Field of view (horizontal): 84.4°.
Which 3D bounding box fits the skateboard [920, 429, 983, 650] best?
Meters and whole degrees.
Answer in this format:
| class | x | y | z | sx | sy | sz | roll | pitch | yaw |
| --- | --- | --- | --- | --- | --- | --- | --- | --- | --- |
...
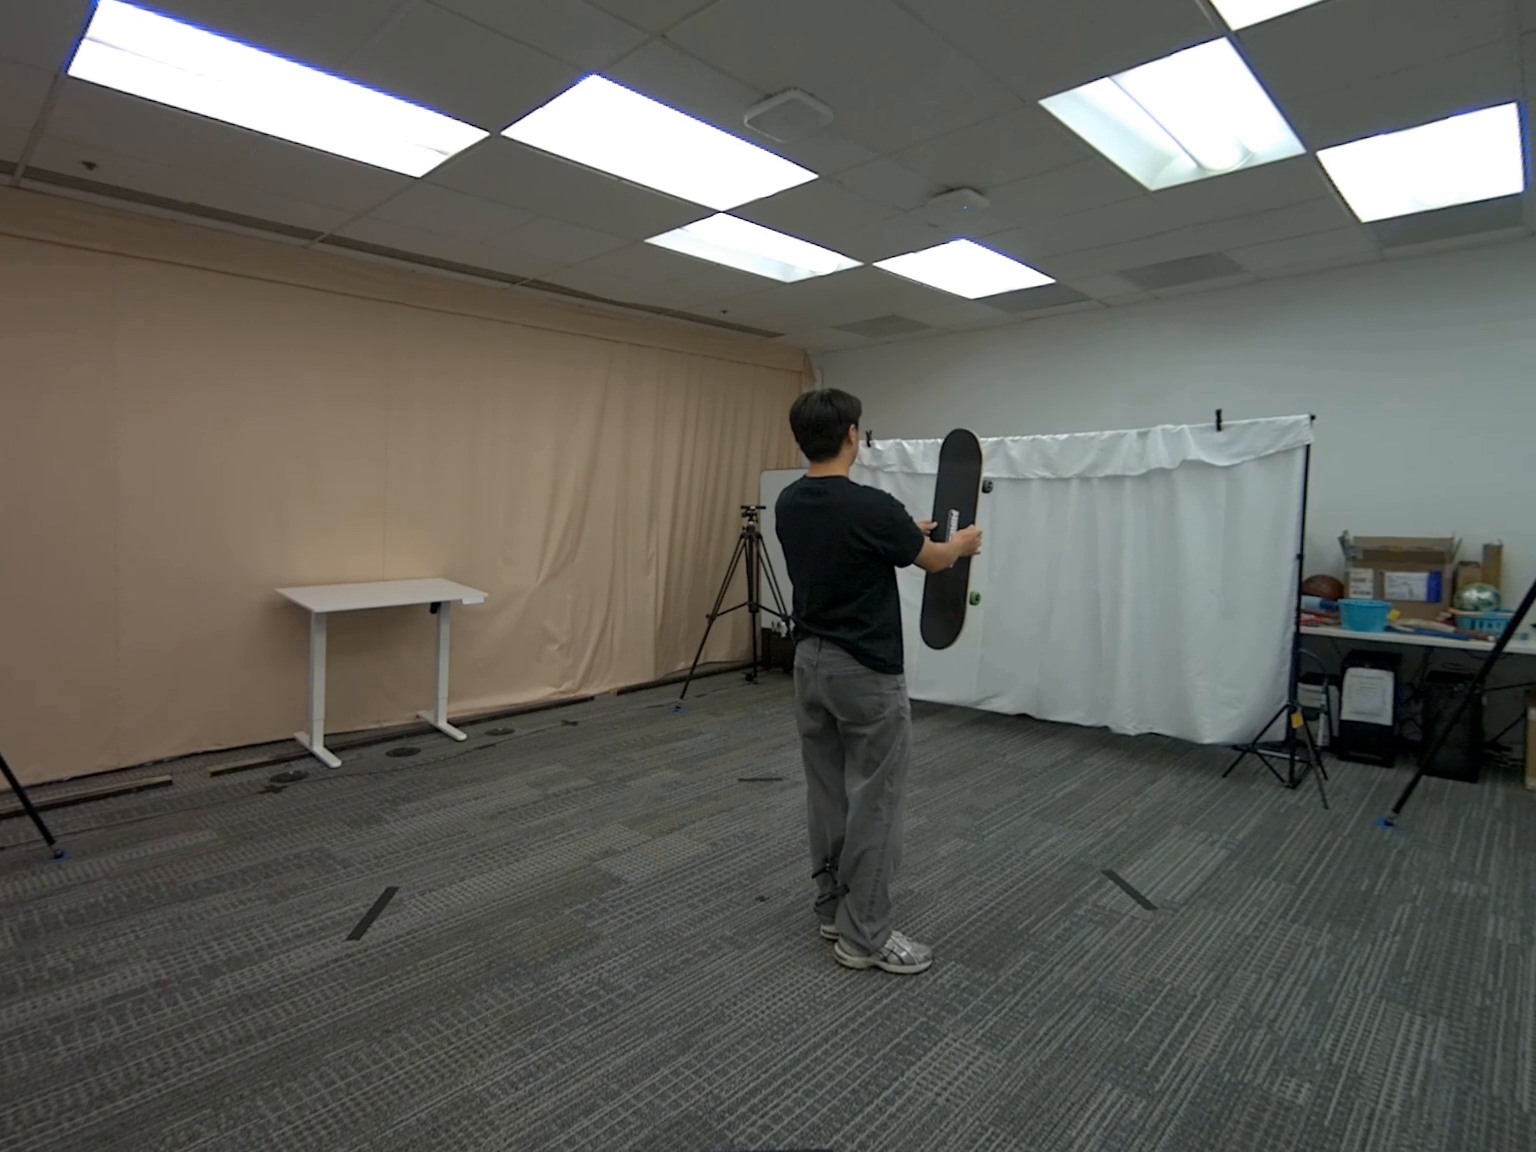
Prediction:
| class | x | y | z | sx | sy | sz | roll | pitch | yaw |
| --- | --- | --- | --- | --- | --- | --- | --- | --- | --- |
| skateboard | 0.670 | -0.125 | 3.007 | 0.107 | 0.786 | 0.200 | 8 | -3 | -38 |
